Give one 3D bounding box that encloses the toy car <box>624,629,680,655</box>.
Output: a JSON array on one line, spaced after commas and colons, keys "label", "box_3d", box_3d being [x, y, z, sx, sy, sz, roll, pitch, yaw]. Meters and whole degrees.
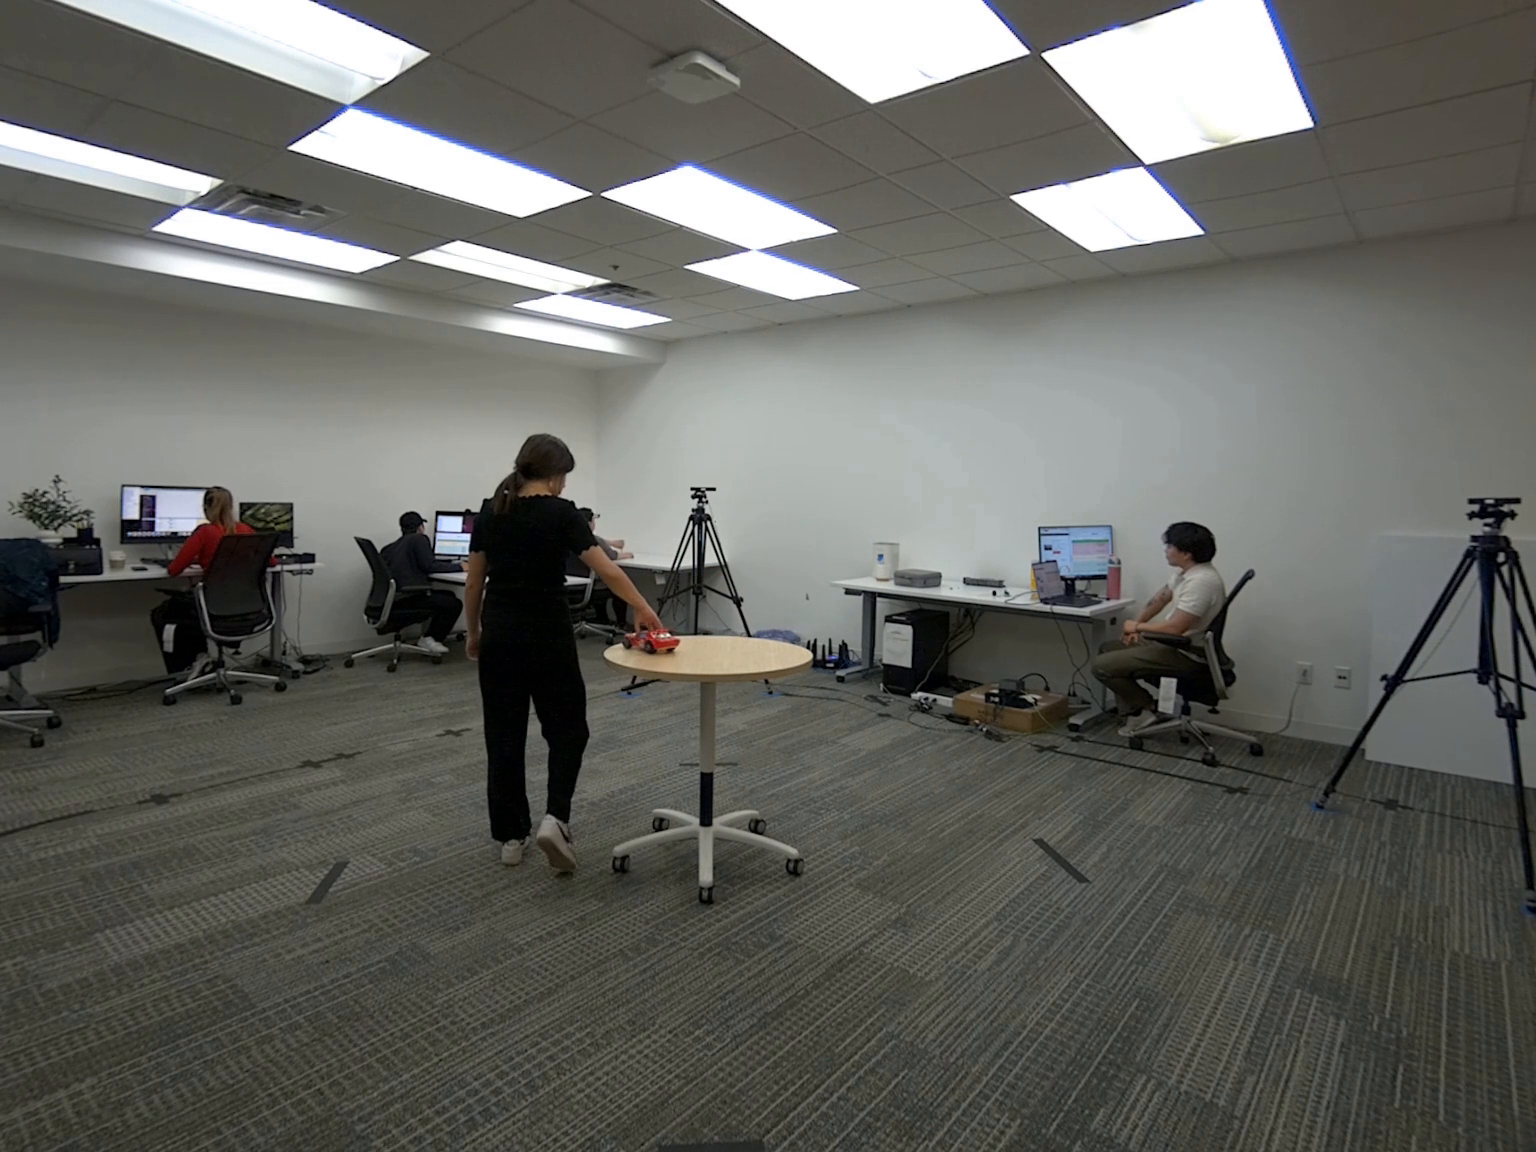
[{"label": "toy car", "box_3d": [-0.443, 0.245, 3.160, 0.126, 0.083, 0.261, -4, -4, -43]}]
